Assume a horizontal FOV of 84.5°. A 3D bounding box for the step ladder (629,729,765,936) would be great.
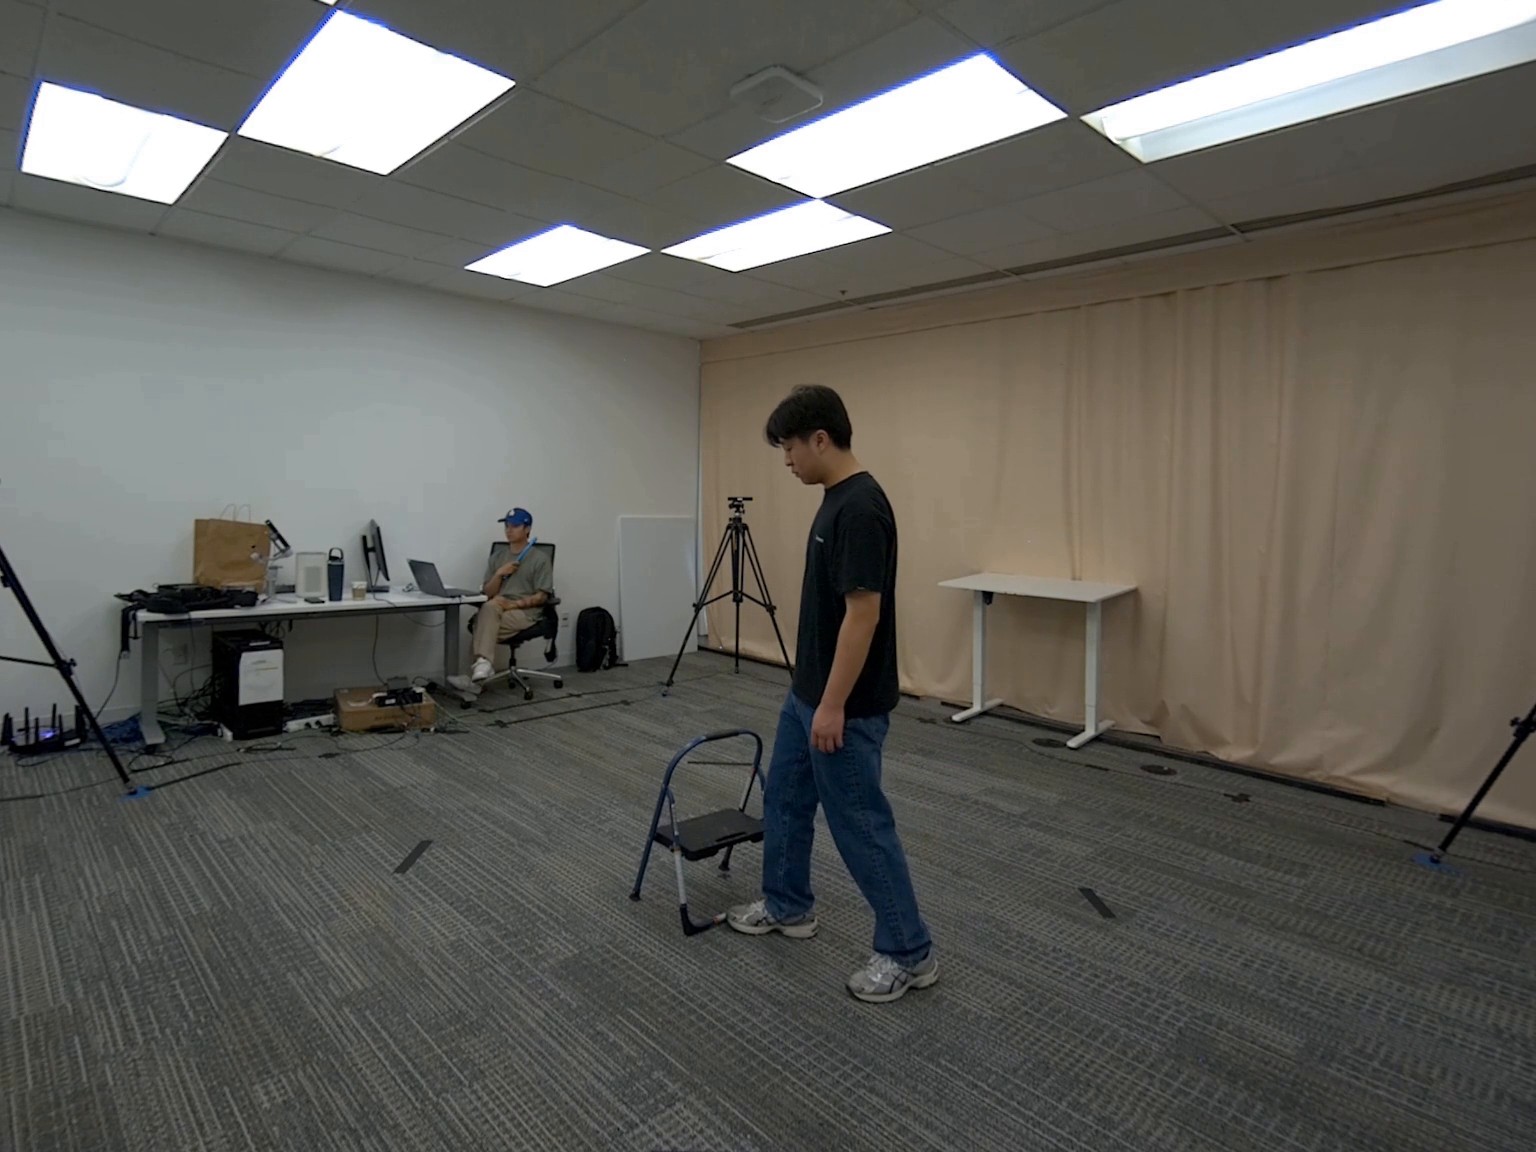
[{"bbox_3d":[-0.211,0.819,2.903,0.421,0.604,0.358,-3,5,-40],"label":"step ladder"}]
